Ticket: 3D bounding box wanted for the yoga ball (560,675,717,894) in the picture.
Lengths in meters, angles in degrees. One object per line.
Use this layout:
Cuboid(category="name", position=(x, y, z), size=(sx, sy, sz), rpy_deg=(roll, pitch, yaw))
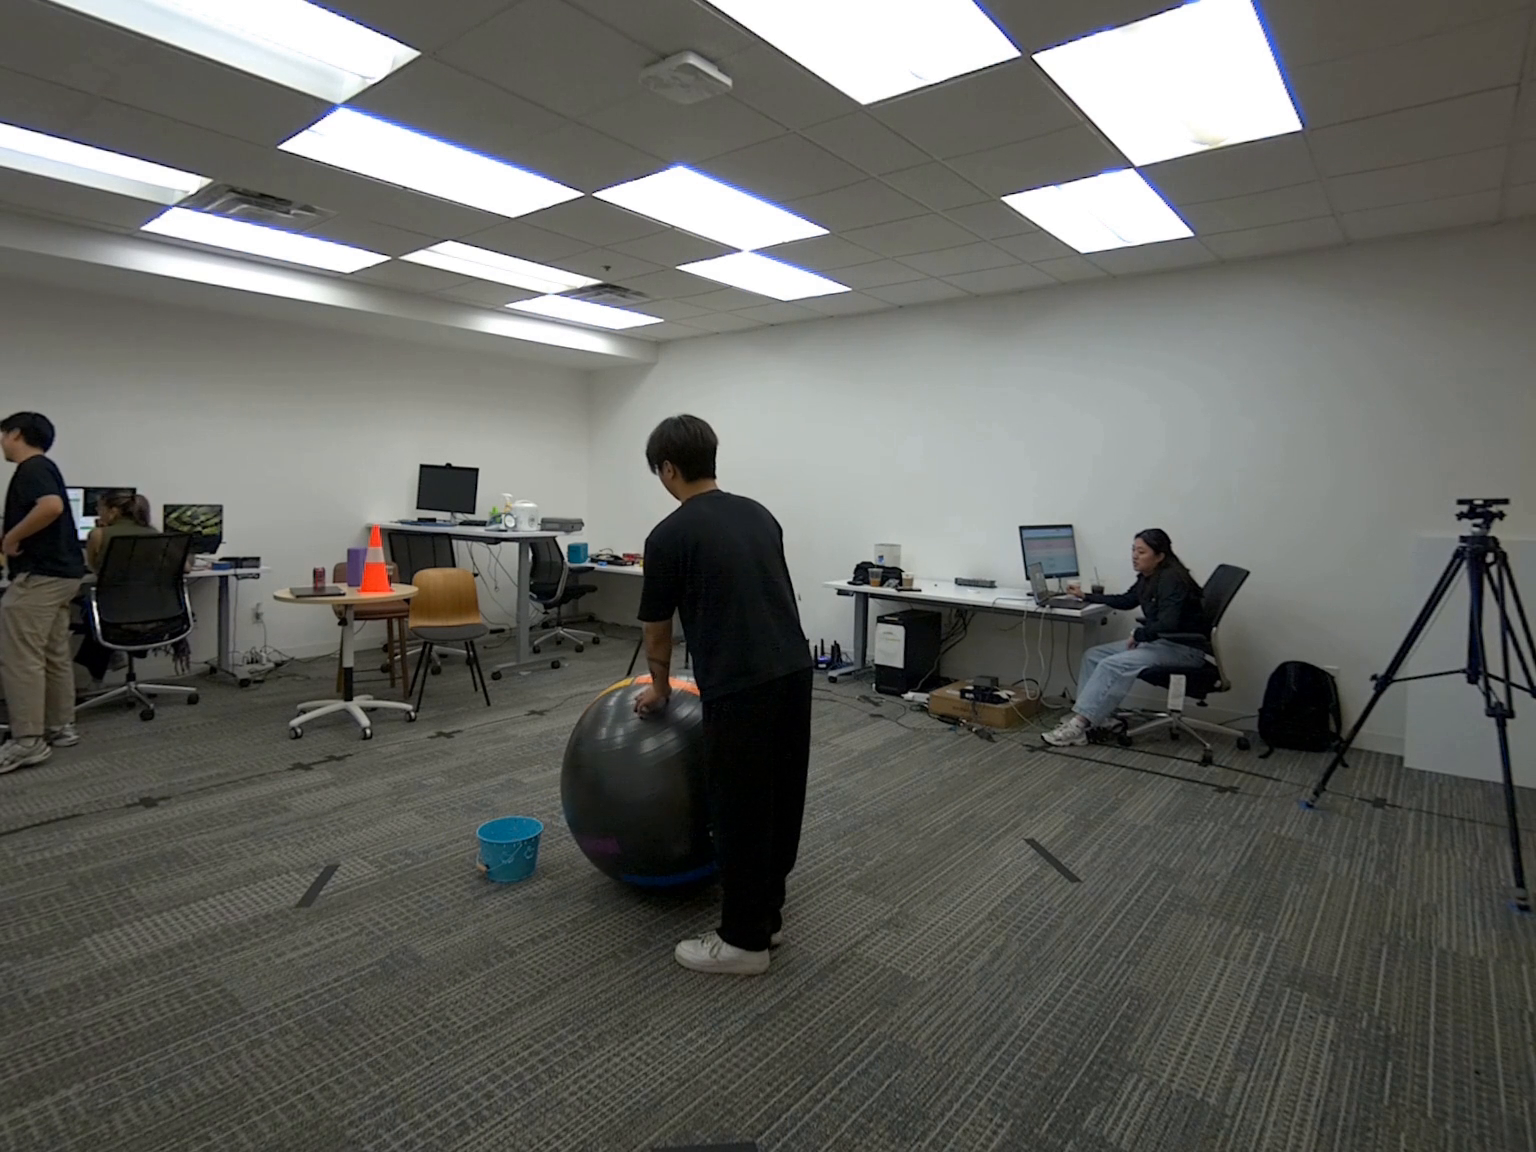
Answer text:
Cuboid(category="yoga ball", position=(-0.356, 0.707, 2.988), size=(0.757, 0.755, 0.762), rpy_deg=(1, 4, -2))
